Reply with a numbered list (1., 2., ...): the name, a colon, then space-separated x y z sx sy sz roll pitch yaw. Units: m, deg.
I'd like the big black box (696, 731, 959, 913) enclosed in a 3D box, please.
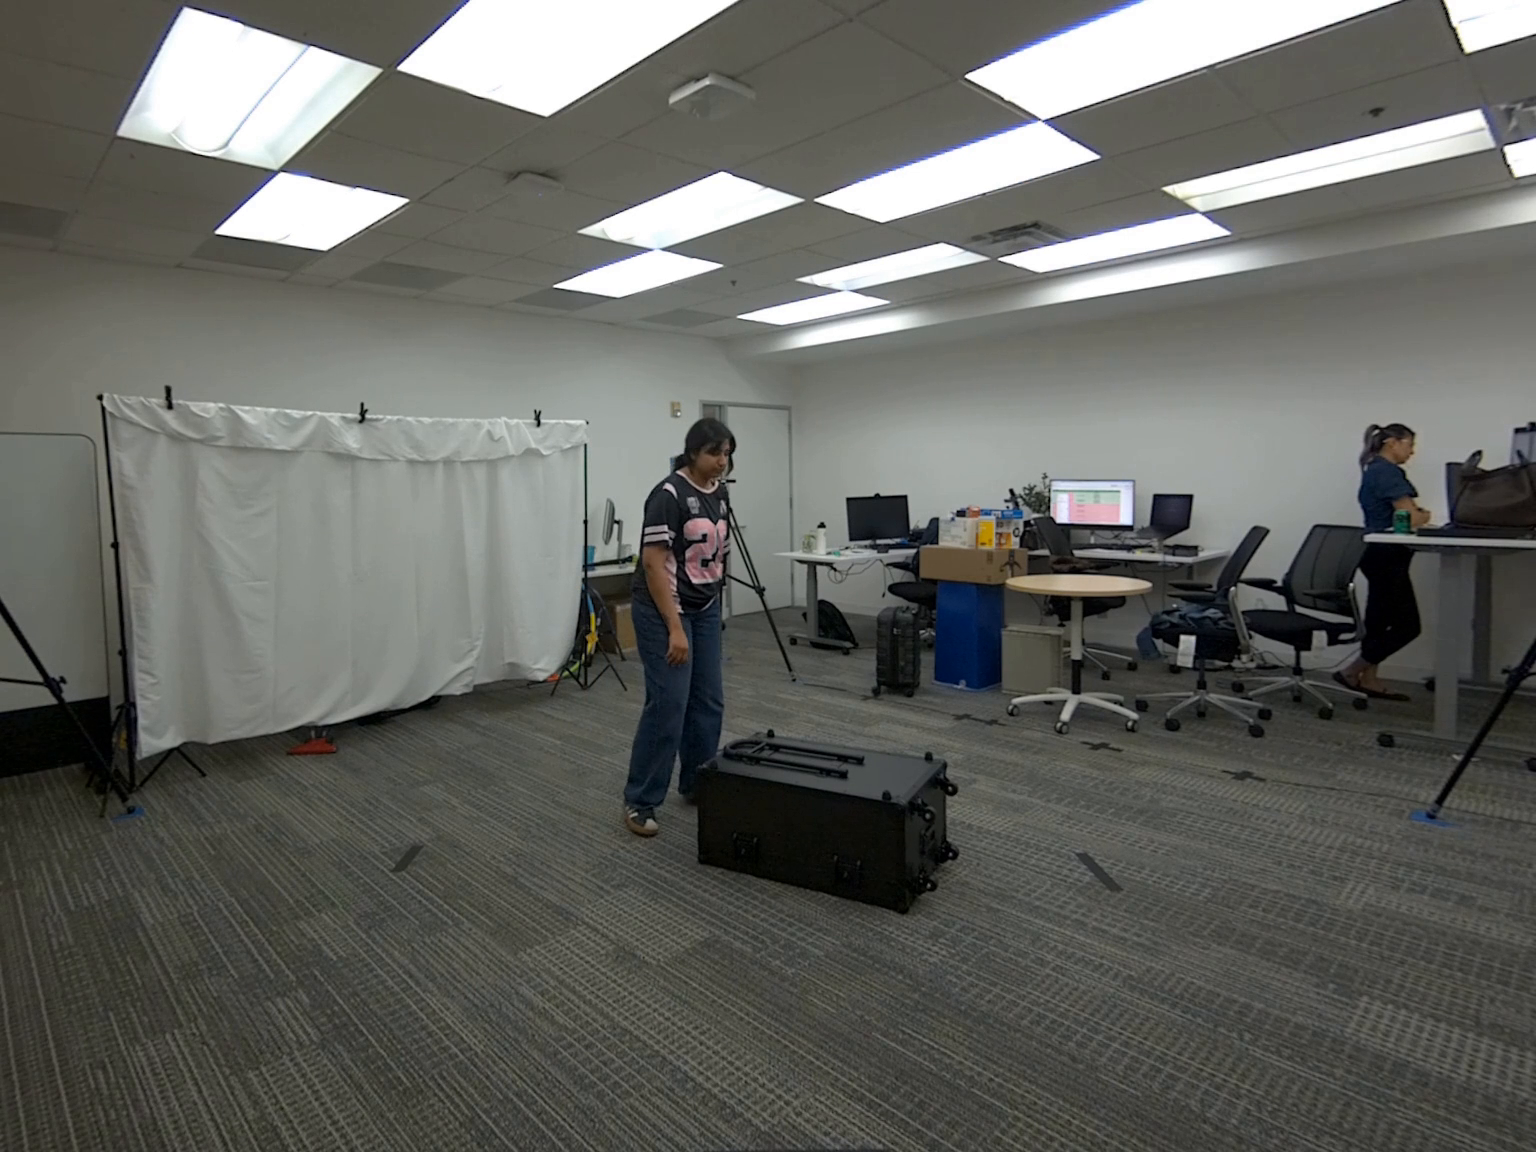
1. big black box: 0.236 0.845 3.099 0.884 0.394 0.510 3 6 29
